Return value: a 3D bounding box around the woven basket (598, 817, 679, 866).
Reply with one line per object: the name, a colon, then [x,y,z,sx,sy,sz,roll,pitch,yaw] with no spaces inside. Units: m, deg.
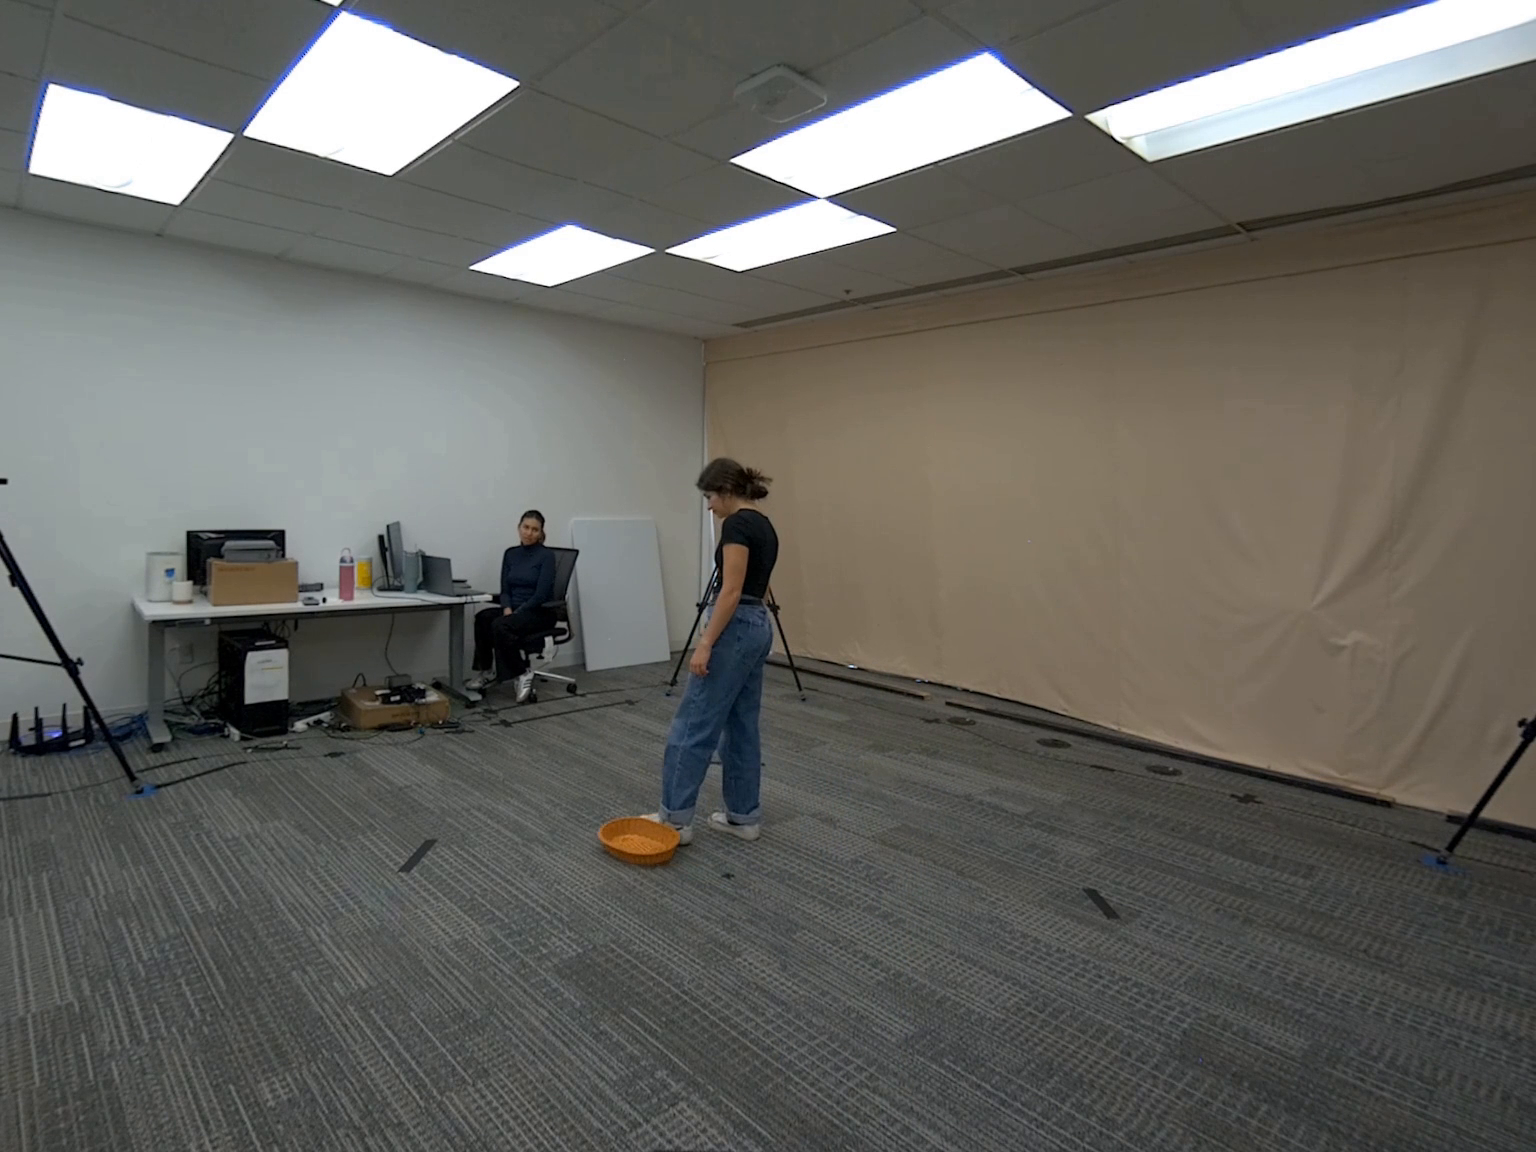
woven basket: [-0.511,1.039,3.281,0.359,0.073,0.247,8,13,40]
